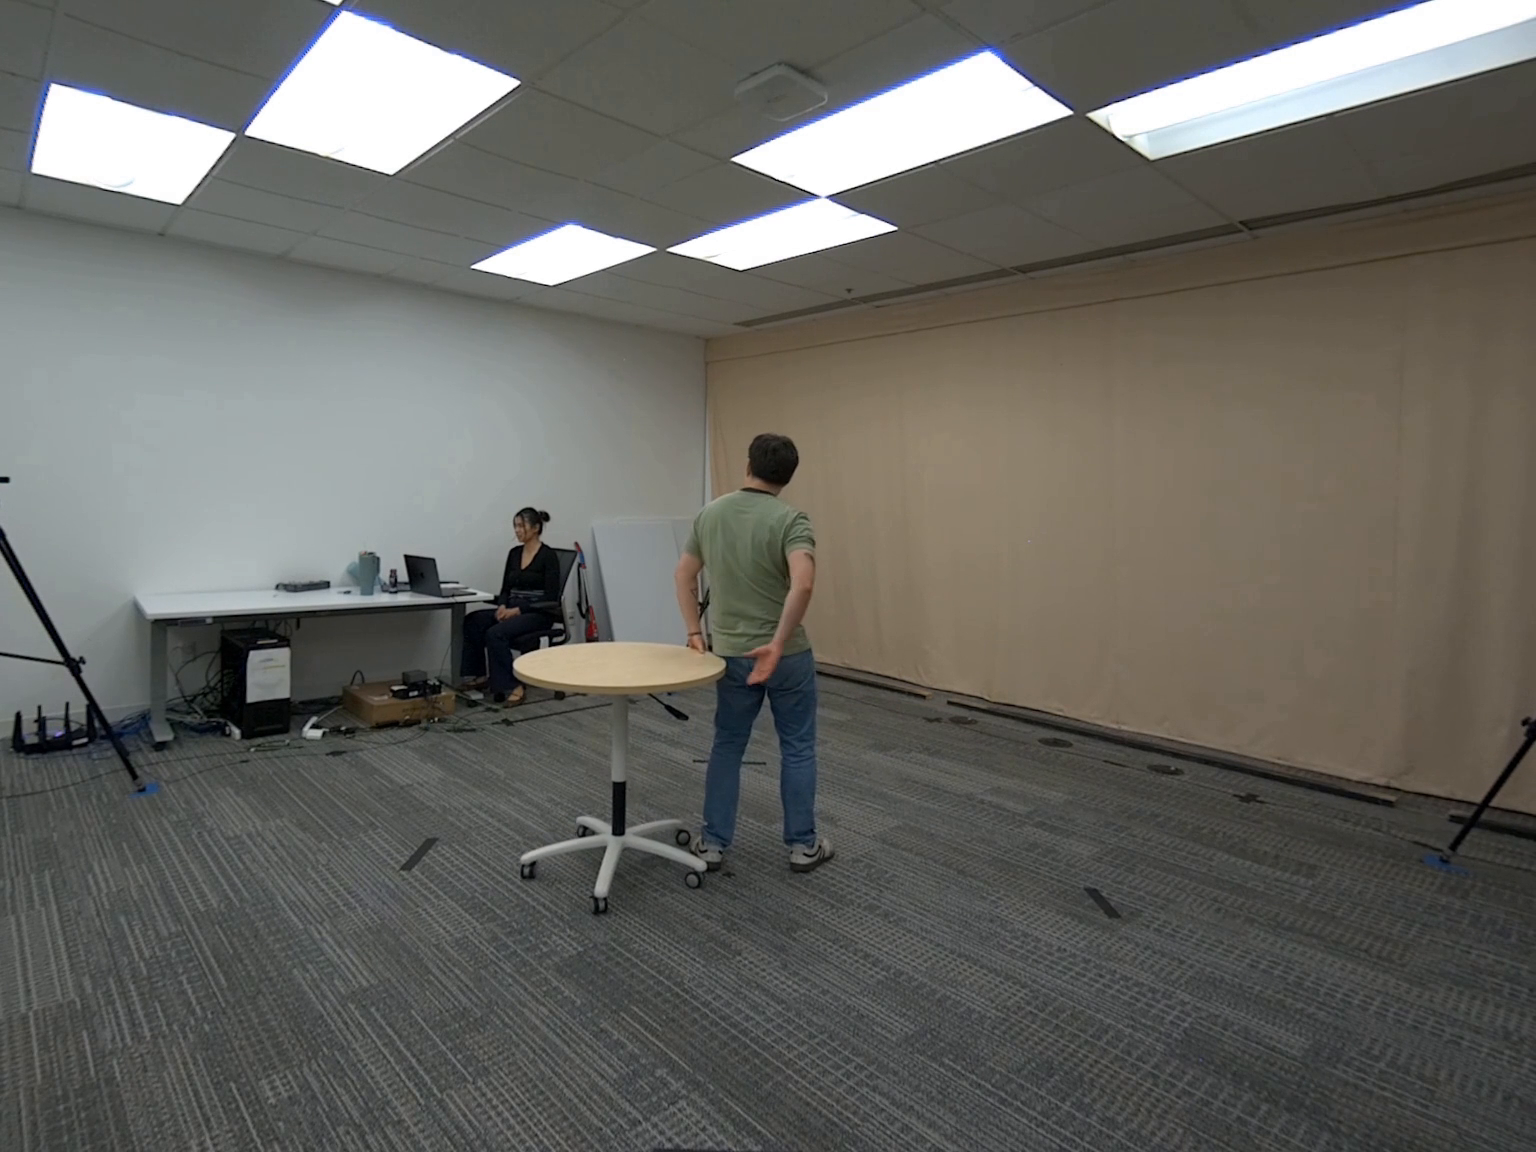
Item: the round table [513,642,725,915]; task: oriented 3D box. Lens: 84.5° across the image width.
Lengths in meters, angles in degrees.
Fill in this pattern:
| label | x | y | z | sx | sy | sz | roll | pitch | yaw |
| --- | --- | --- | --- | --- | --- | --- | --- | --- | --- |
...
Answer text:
| label | x | y | z | sx | sy | sz | roll | pitch | yaw |
| --- | --- | --- | --- | --- | --- | --- | --- | --- | --- |
| round table | -0.550 | 0.707 | 3.089 | 0.763 | 0.791 | 0.767 | 1 | 5 | -1 |
